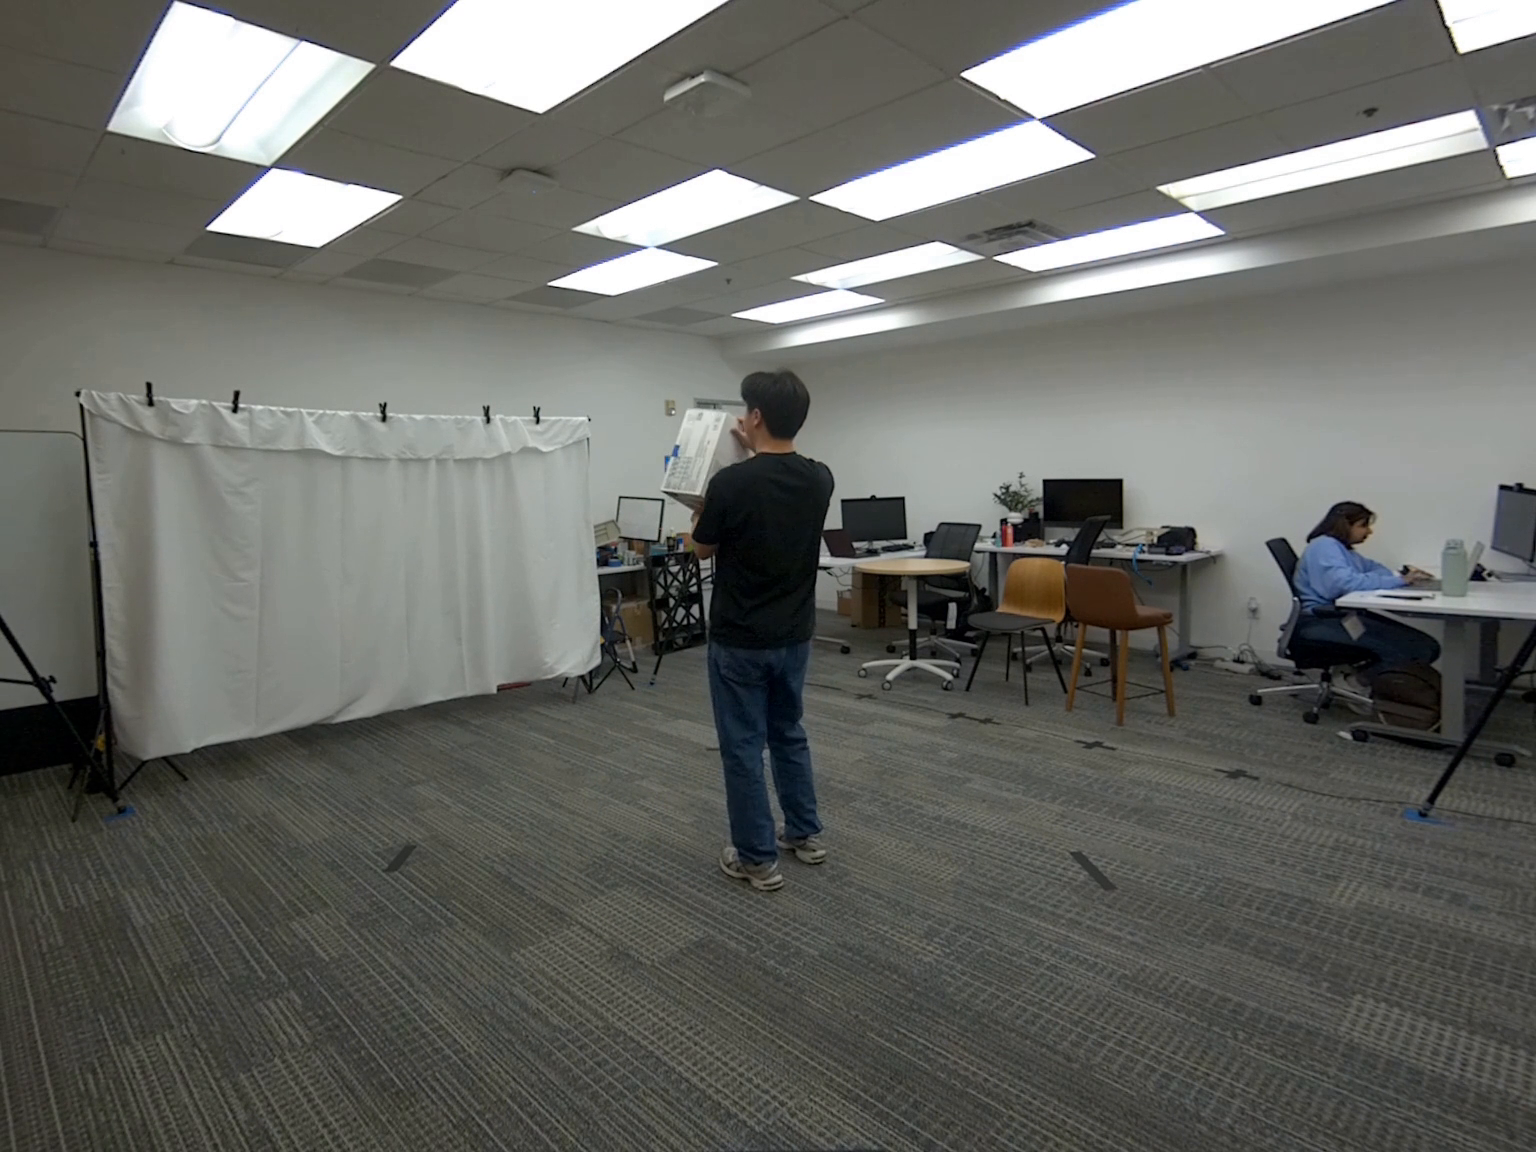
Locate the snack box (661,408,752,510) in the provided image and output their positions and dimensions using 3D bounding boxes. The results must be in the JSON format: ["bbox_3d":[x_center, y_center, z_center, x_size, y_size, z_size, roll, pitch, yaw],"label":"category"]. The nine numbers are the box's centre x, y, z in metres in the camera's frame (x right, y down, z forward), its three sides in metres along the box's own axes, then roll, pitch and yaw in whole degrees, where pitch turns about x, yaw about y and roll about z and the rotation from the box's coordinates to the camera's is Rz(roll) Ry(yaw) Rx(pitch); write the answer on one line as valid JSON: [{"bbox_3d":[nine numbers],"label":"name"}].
[{"bbox_3d":[-0.170,-0.407,3.310,0.212,0.342,0.390,9,-13,36],"label":"snack box"}]
